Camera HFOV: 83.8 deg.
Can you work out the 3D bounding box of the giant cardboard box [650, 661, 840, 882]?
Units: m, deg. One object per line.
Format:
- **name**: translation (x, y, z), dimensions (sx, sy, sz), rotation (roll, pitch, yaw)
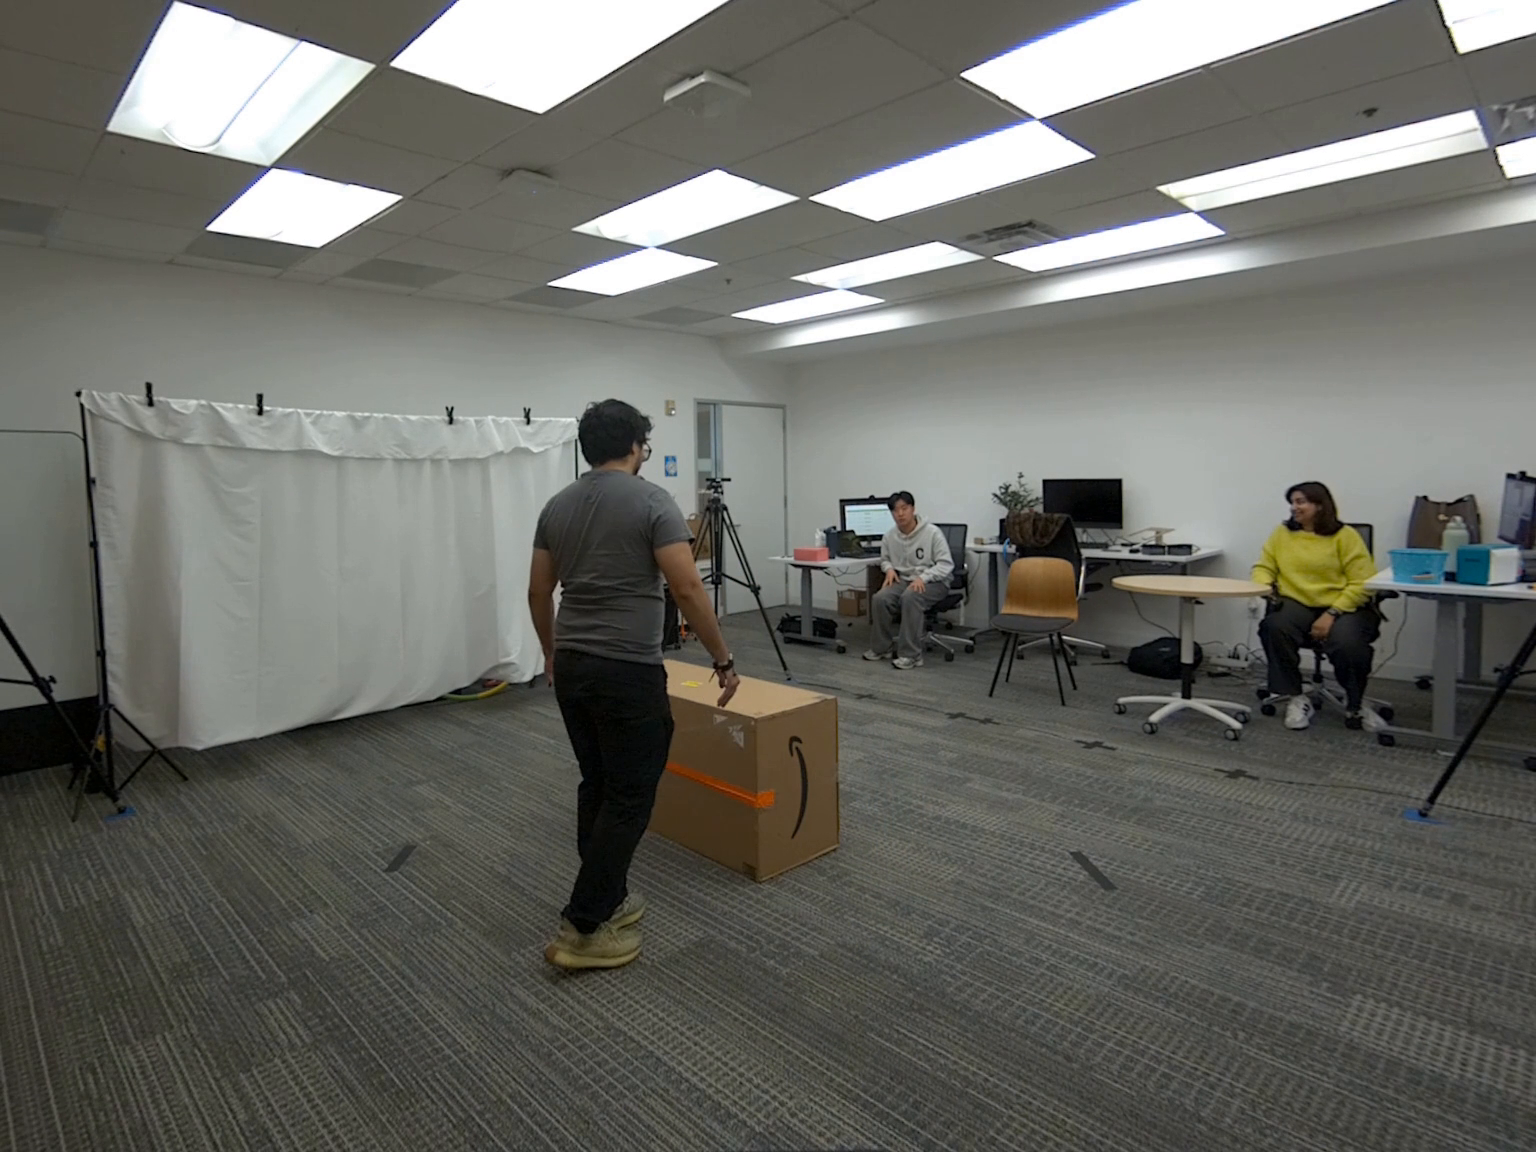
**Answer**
- **giant cardboard box**: translation (-0.240, 0.722, 3.447), dimensions (0.415, 0.575, 1.057), rotation (-4, 6, -42)
